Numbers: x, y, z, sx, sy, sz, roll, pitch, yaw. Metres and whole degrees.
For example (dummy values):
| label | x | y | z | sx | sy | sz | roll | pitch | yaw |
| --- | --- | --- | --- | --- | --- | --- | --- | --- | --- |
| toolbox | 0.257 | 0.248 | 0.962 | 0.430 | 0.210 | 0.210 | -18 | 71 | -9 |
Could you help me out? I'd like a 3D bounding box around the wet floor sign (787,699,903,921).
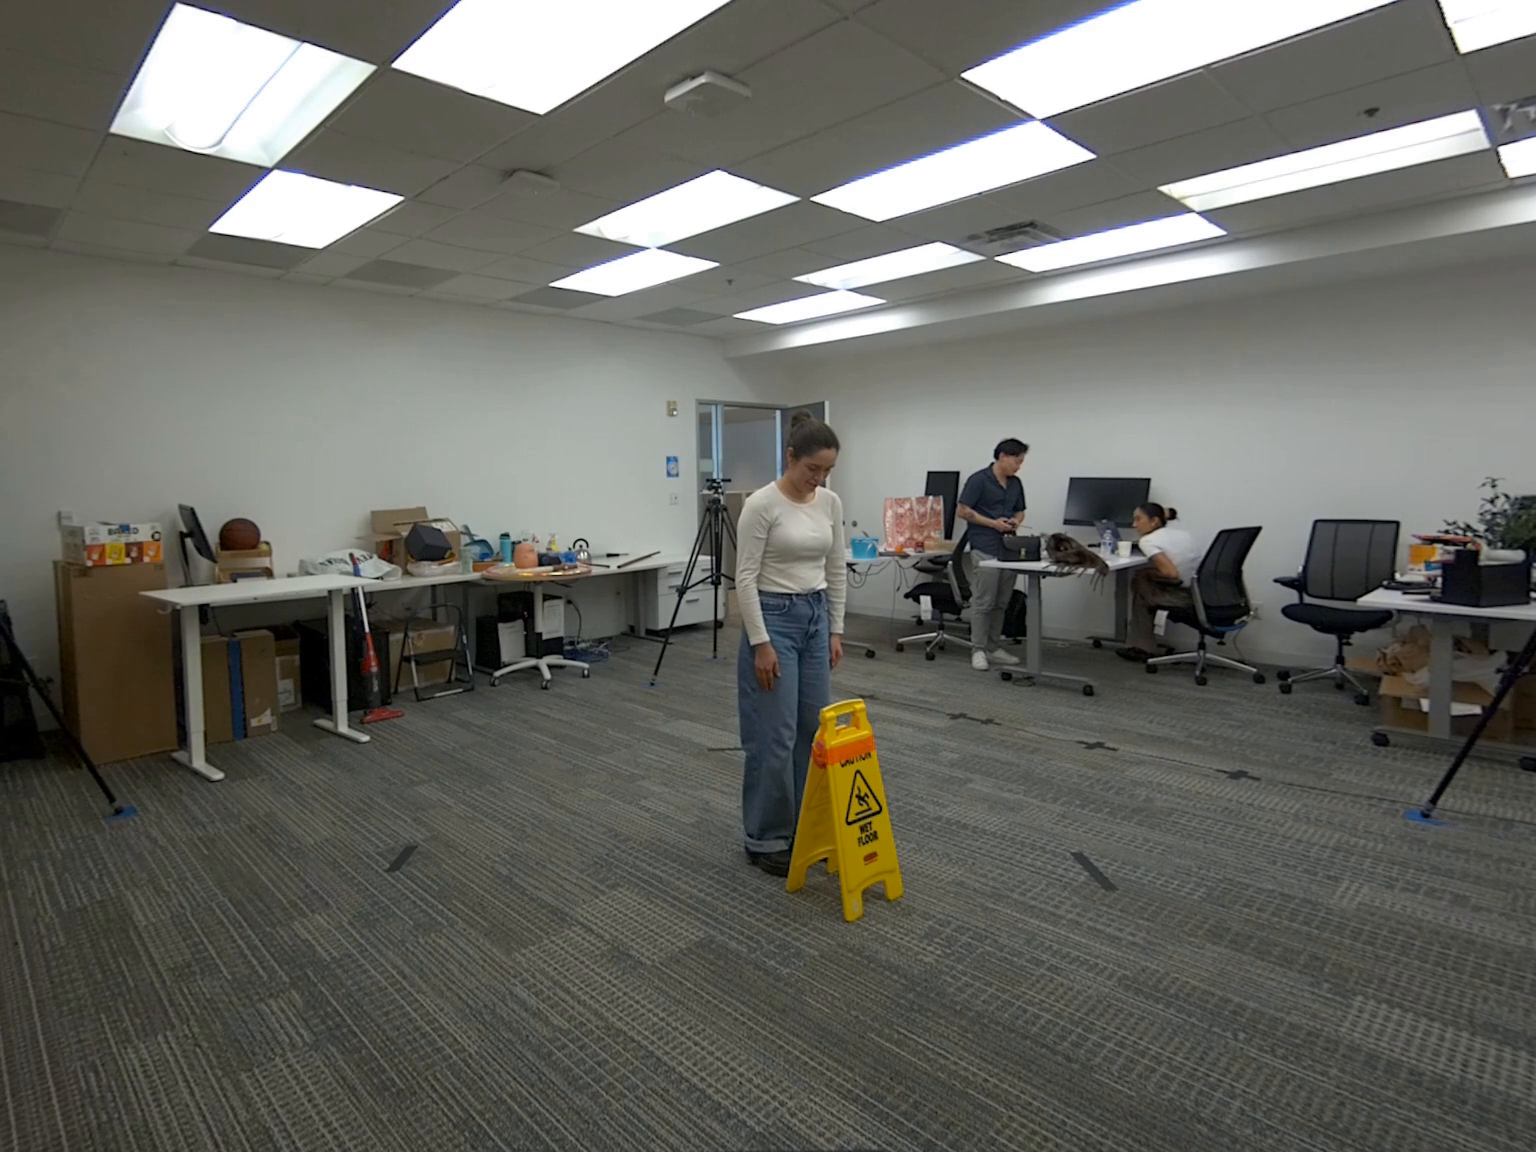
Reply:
| label | x | y | z | sx | sy | sz | roll | pitch | yaw |
| --- | --- | --- | --- | --- | --- | --- | --- | --- | --- |
| wet floor sign | 0.248 | 0.743 | 2.855 | 0.275 | 0.644 | 0.298 | -4 | 5 | -42 |
